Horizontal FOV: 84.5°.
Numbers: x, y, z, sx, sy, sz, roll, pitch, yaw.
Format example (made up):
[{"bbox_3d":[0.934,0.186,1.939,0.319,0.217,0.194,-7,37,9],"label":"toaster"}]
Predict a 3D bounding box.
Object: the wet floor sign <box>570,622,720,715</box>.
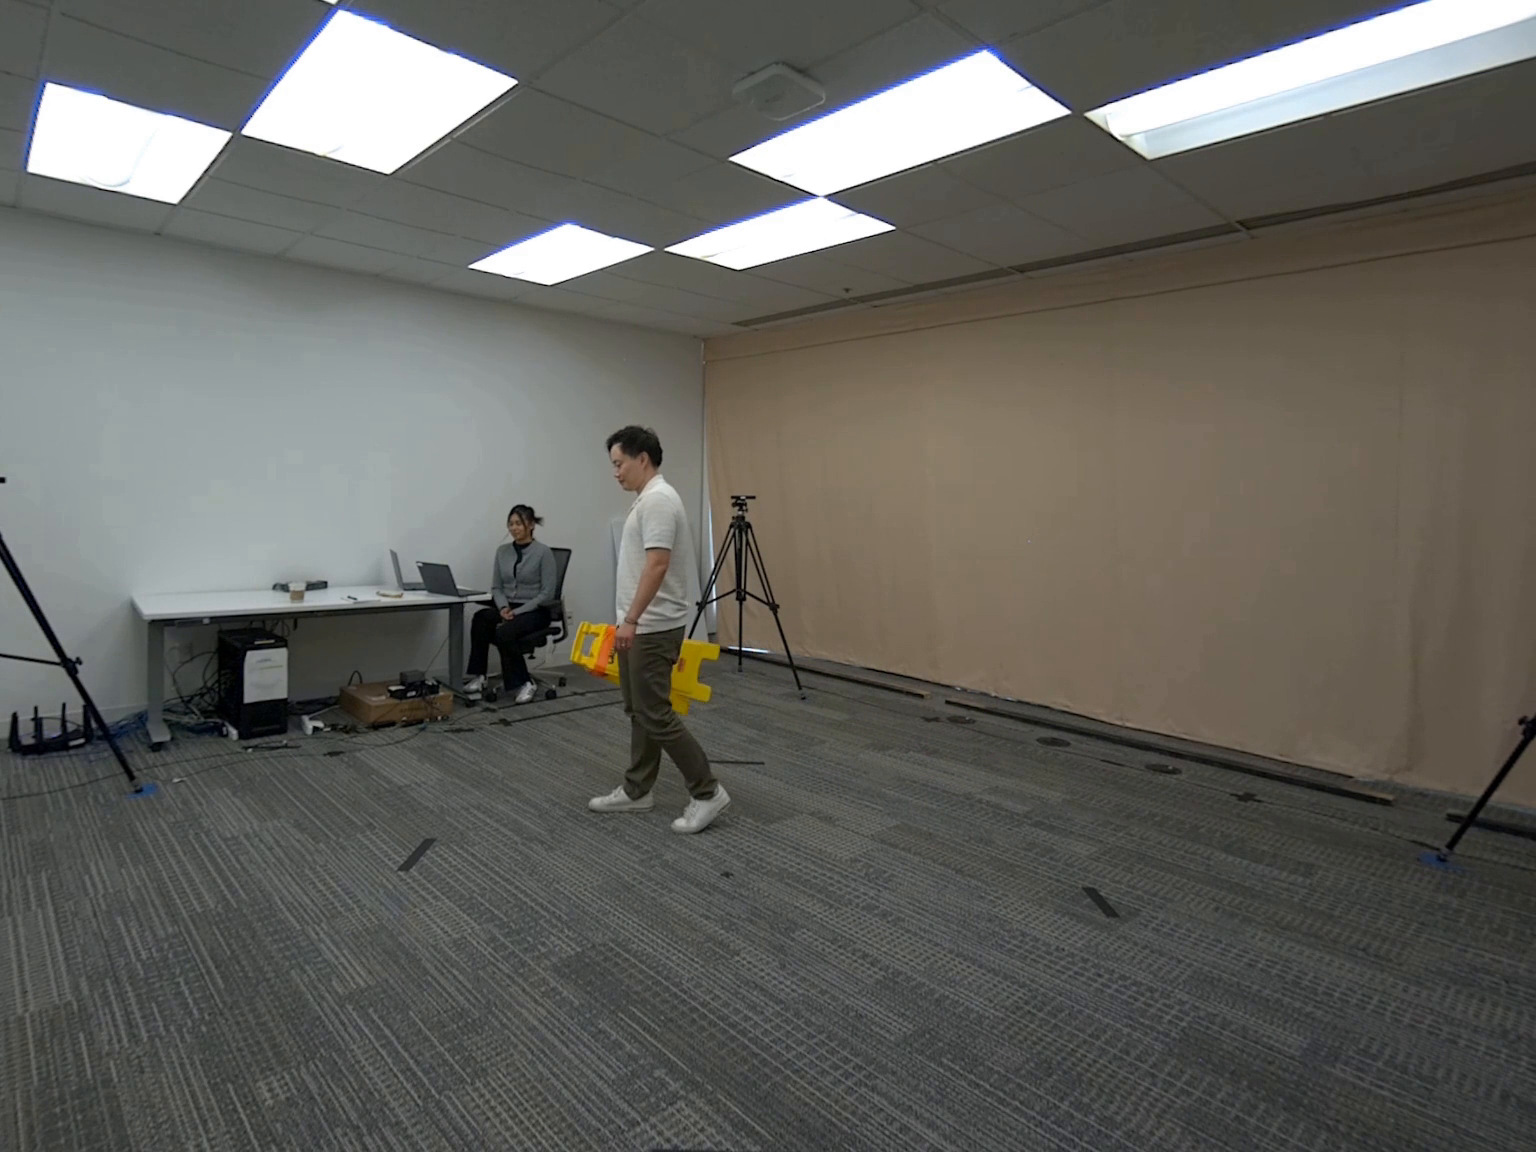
[{"bbox_3d":[-0.601,0.400,3.943,0.636,0.286,0.290,20,-28,-16],"label":"wet floor sign"}]
